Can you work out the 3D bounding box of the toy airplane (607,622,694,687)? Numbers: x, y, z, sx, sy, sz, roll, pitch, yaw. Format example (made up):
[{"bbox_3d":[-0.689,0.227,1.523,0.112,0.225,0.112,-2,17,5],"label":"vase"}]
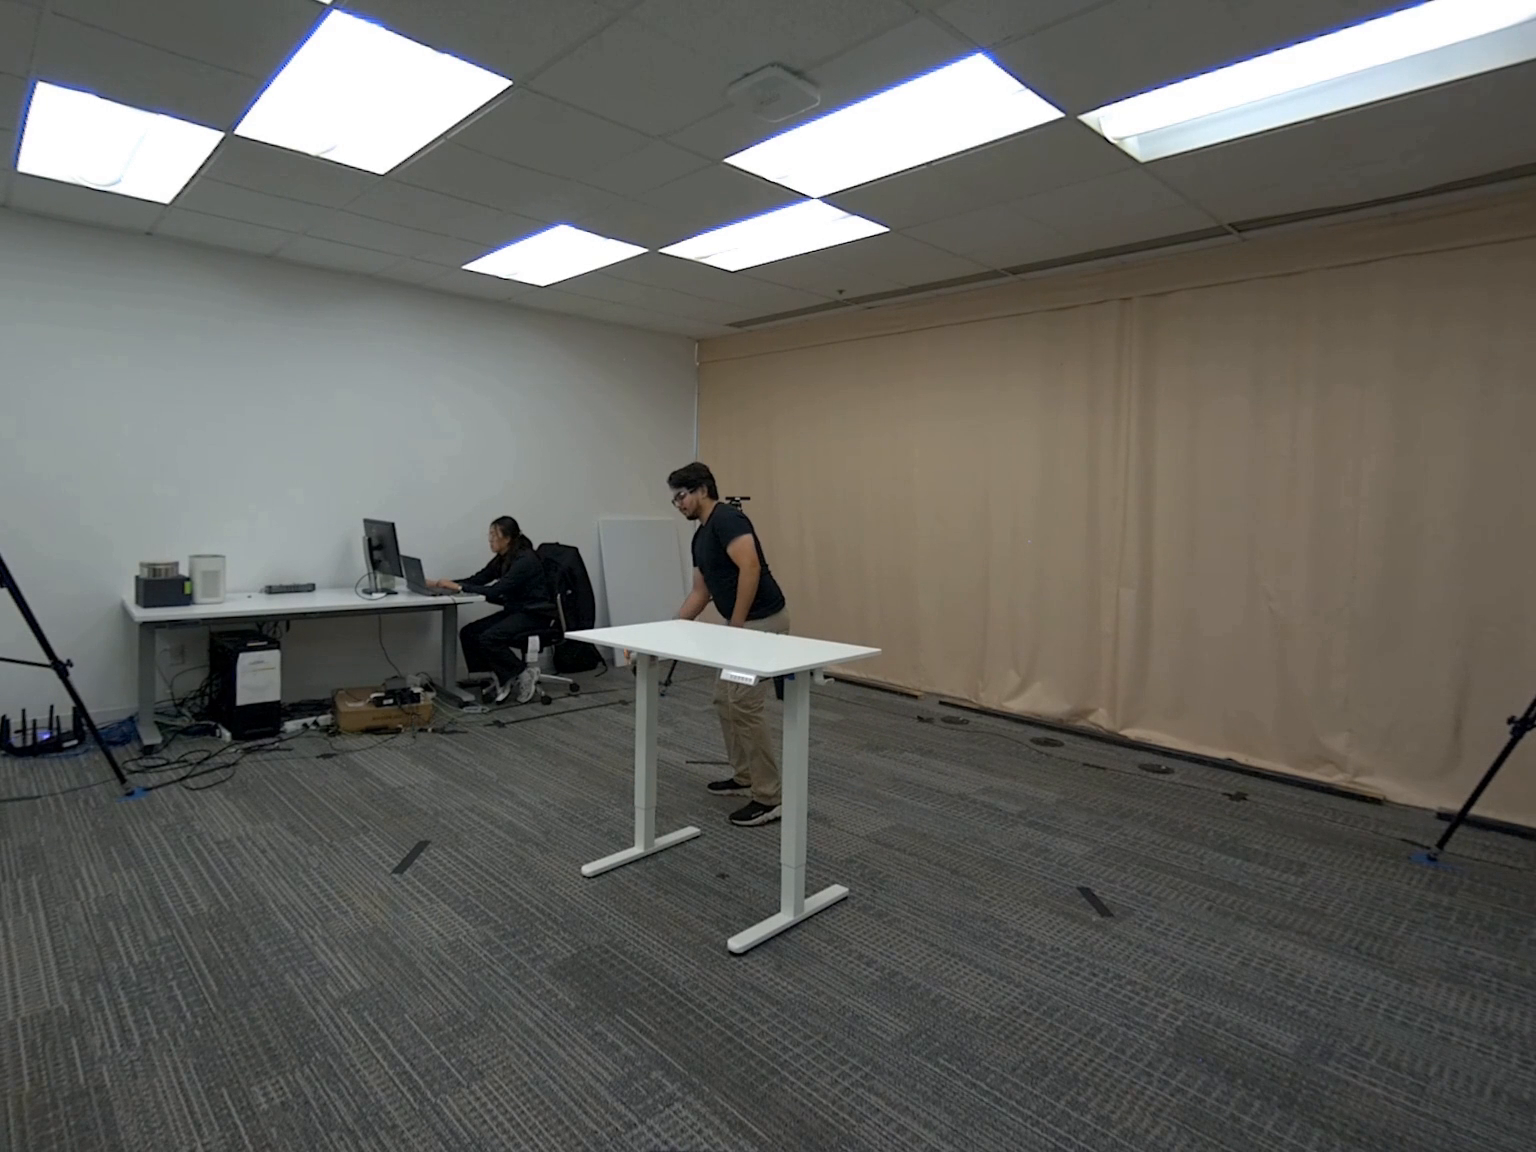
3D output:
[{"bbox_3d":[-0.542,0.357,3.898,0.254,0.157,0.256,-26,-1,34],"label":"toy airplane"}]
